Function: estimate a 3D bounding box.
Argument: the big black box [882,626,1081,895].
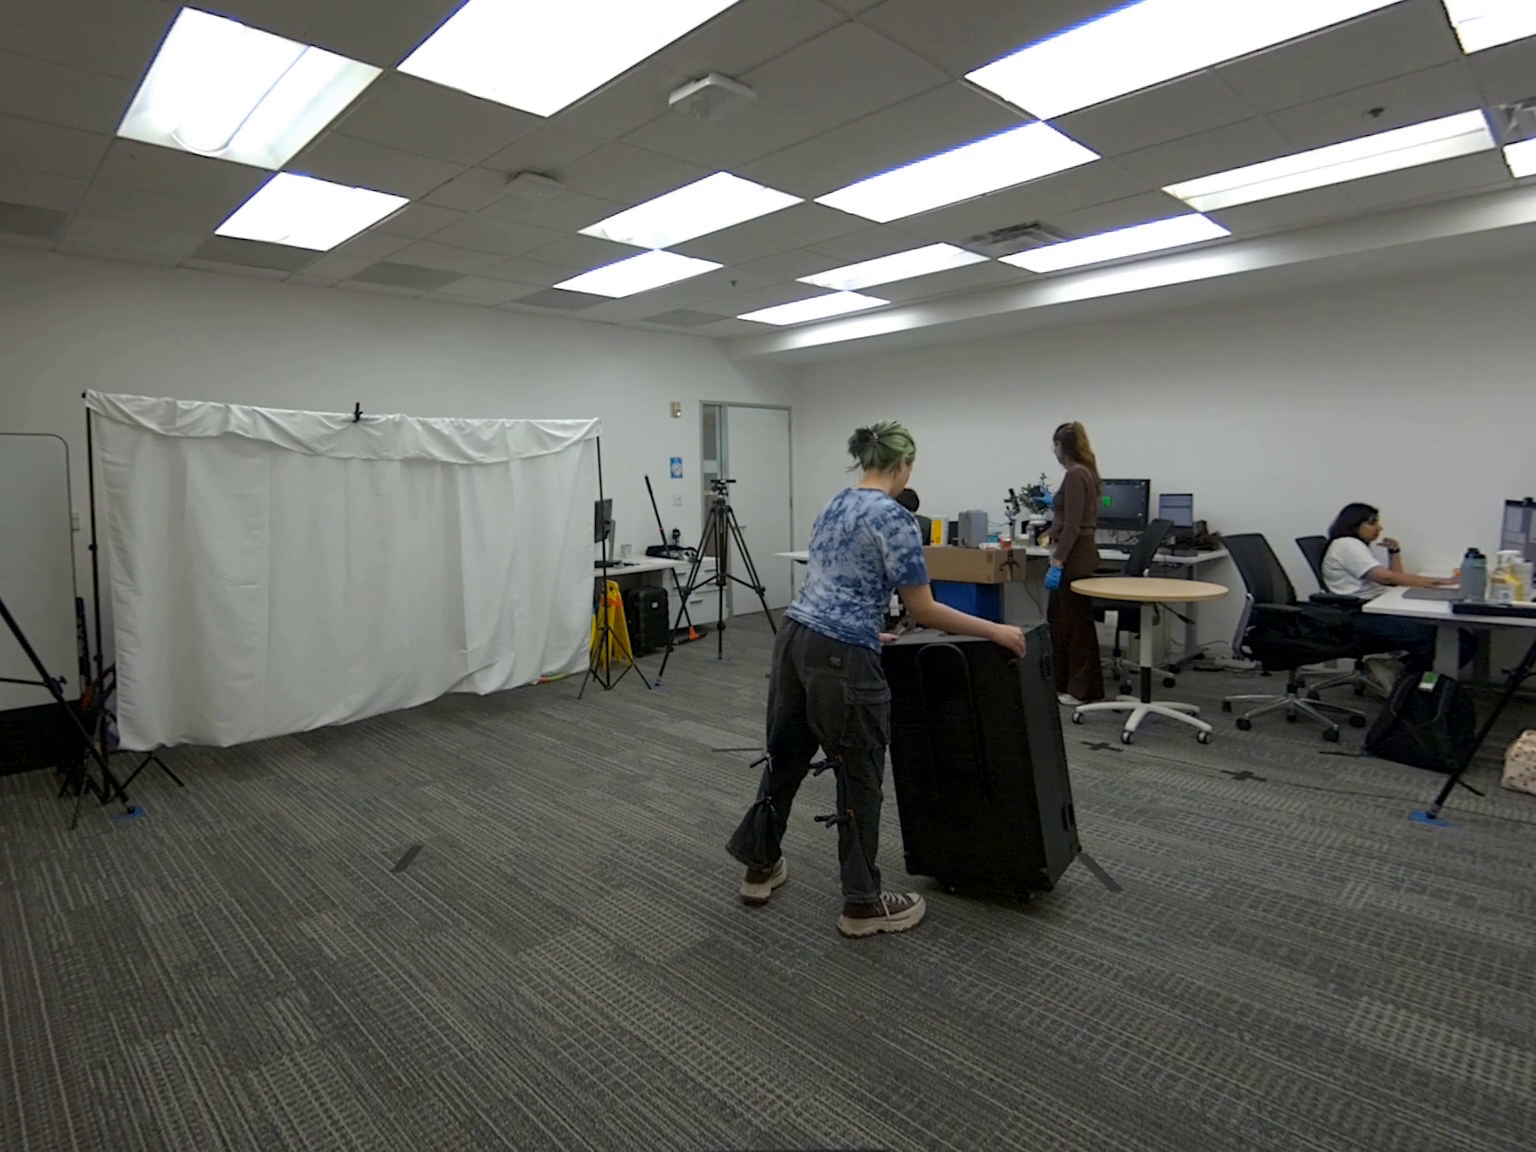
[{"bbox_3d":[0.718,0.619,2.898,0.534,0.862,0.387,-8,0,36],"label":"big black box"}]
